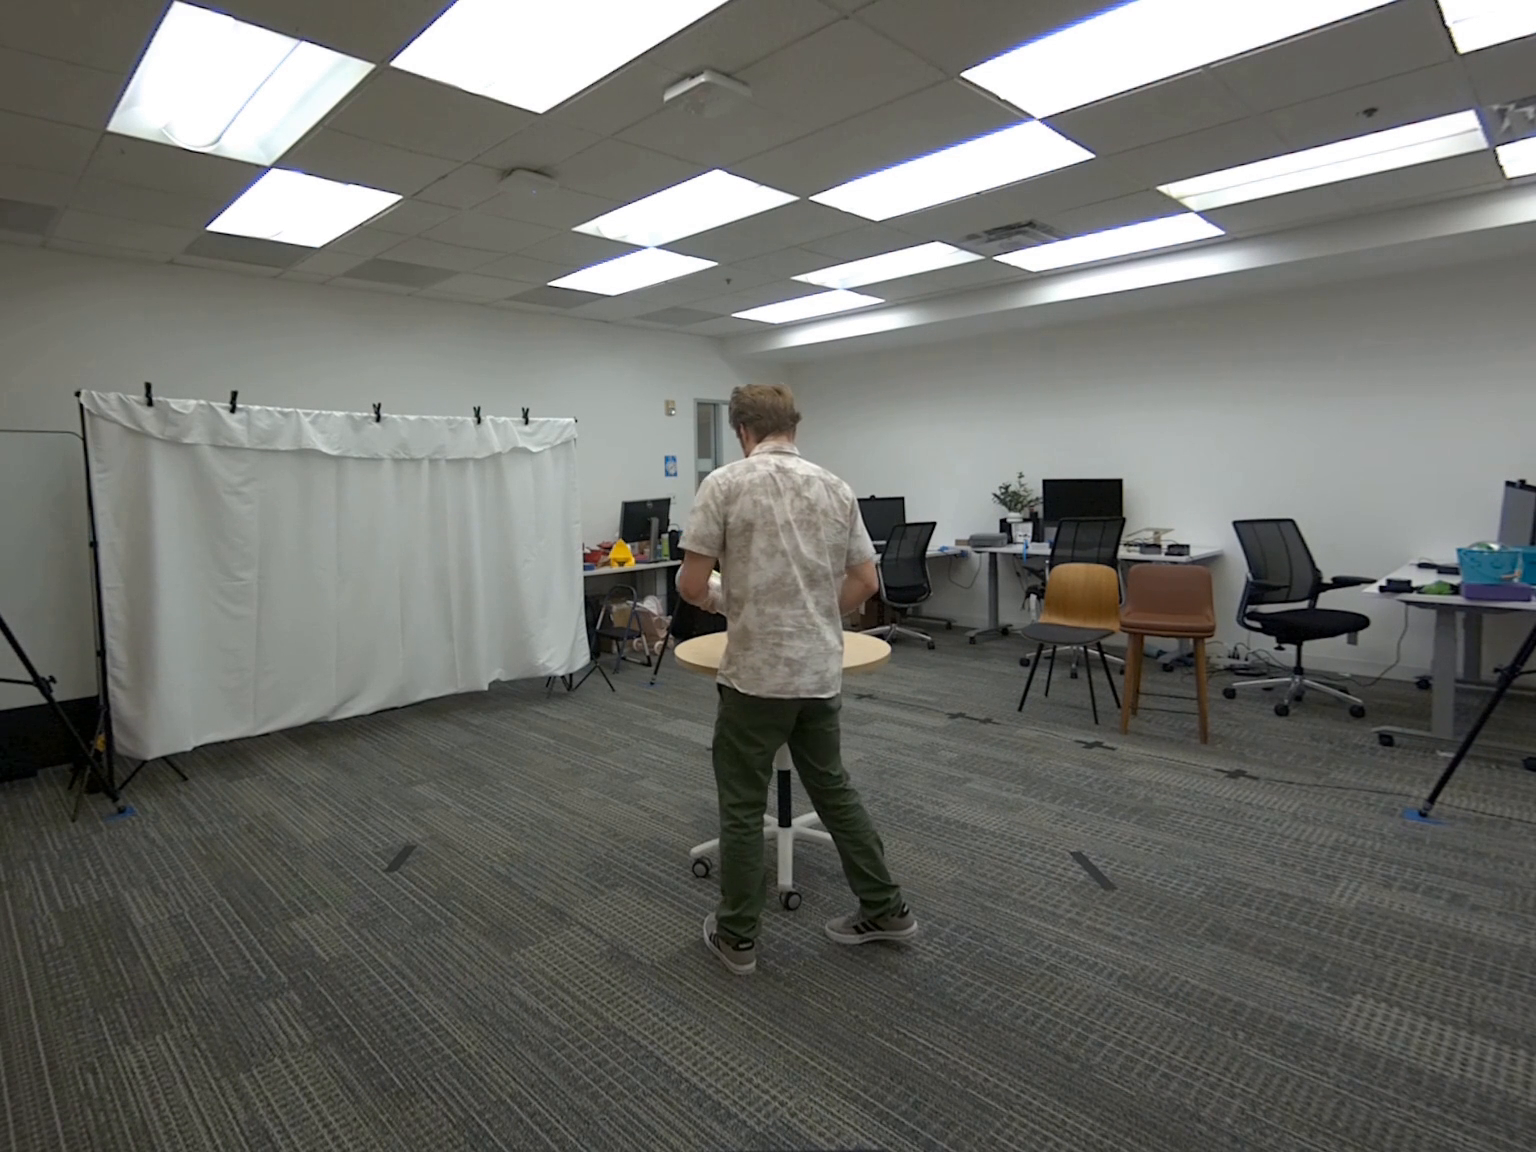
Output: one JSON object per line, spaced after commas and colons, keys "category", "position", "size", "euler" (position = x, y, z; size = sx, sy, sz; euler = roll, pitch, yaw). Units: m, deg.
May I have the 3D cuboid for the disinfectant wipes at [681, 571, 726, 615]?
{"category": "disinfectant wipes", "position": [-0.175, 0.035, 2.776], "size": [0.224, 0.117, 0.115], "euler": [26, 18, 29]}
